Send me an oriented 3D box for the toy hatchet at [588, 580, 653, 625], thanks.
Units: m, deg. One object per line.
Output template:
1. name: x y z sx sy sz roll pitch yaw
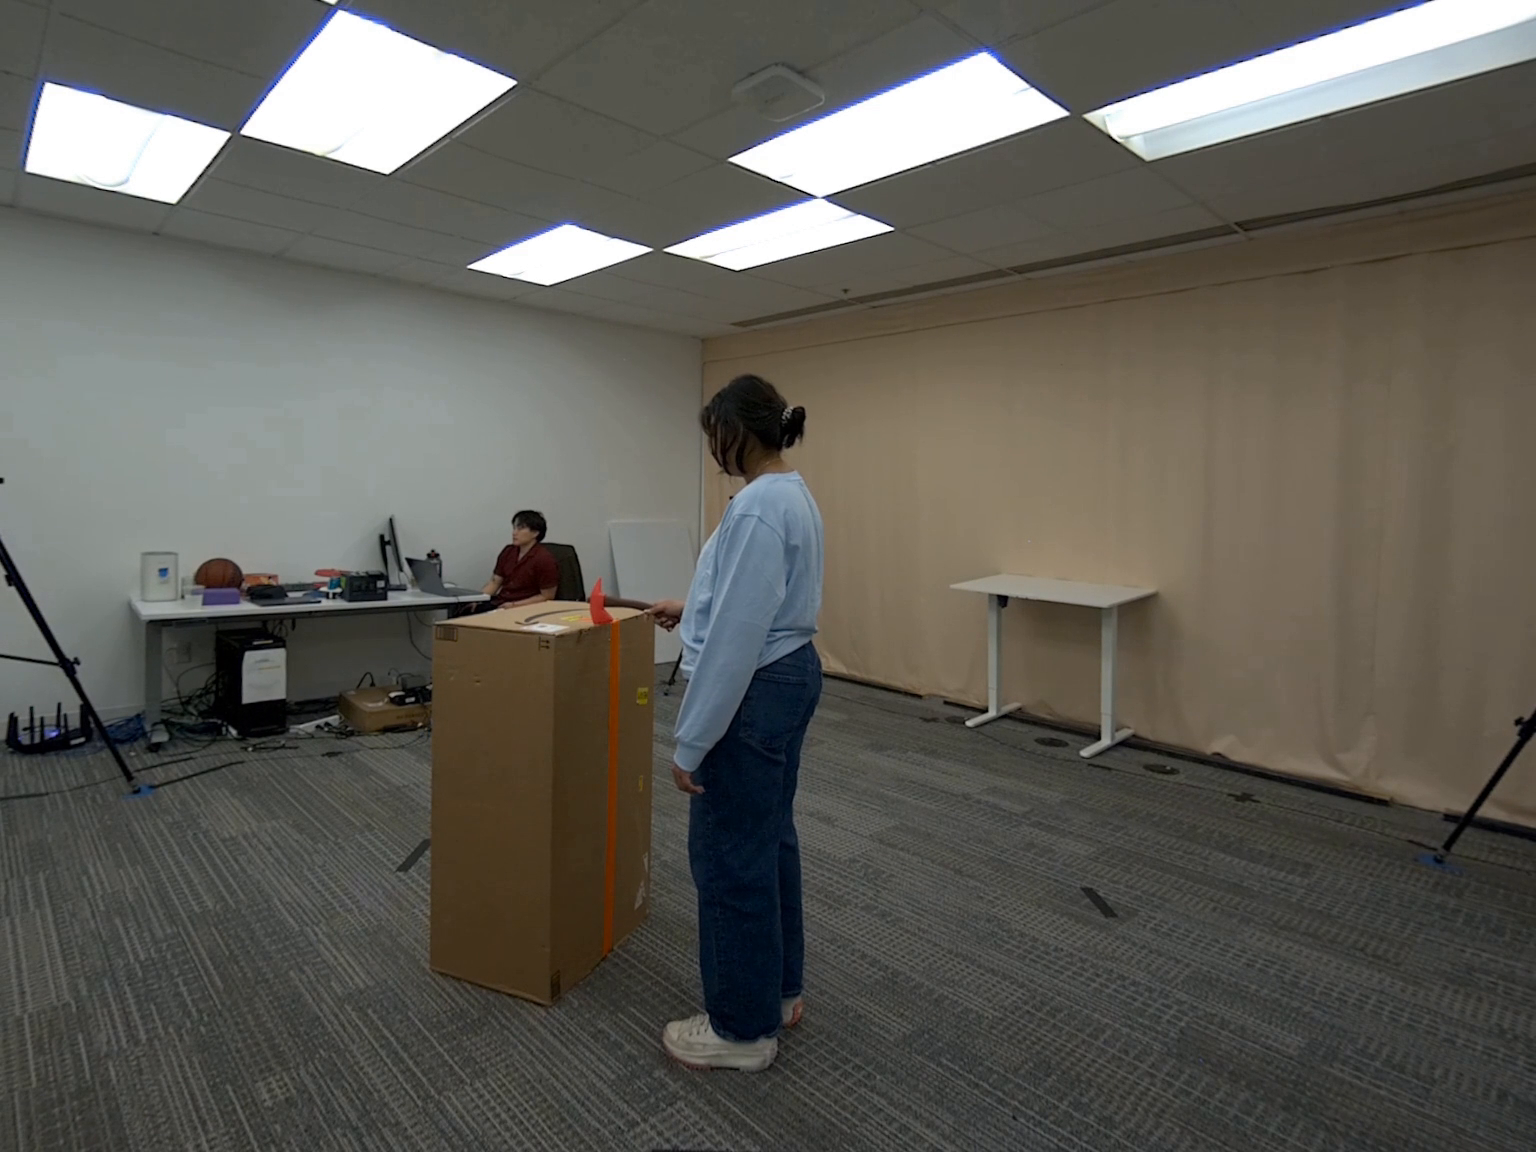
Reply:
1. toy hatchet: -0.406 0.107 2.414 0.270 0.131 0.029 20 1 0
